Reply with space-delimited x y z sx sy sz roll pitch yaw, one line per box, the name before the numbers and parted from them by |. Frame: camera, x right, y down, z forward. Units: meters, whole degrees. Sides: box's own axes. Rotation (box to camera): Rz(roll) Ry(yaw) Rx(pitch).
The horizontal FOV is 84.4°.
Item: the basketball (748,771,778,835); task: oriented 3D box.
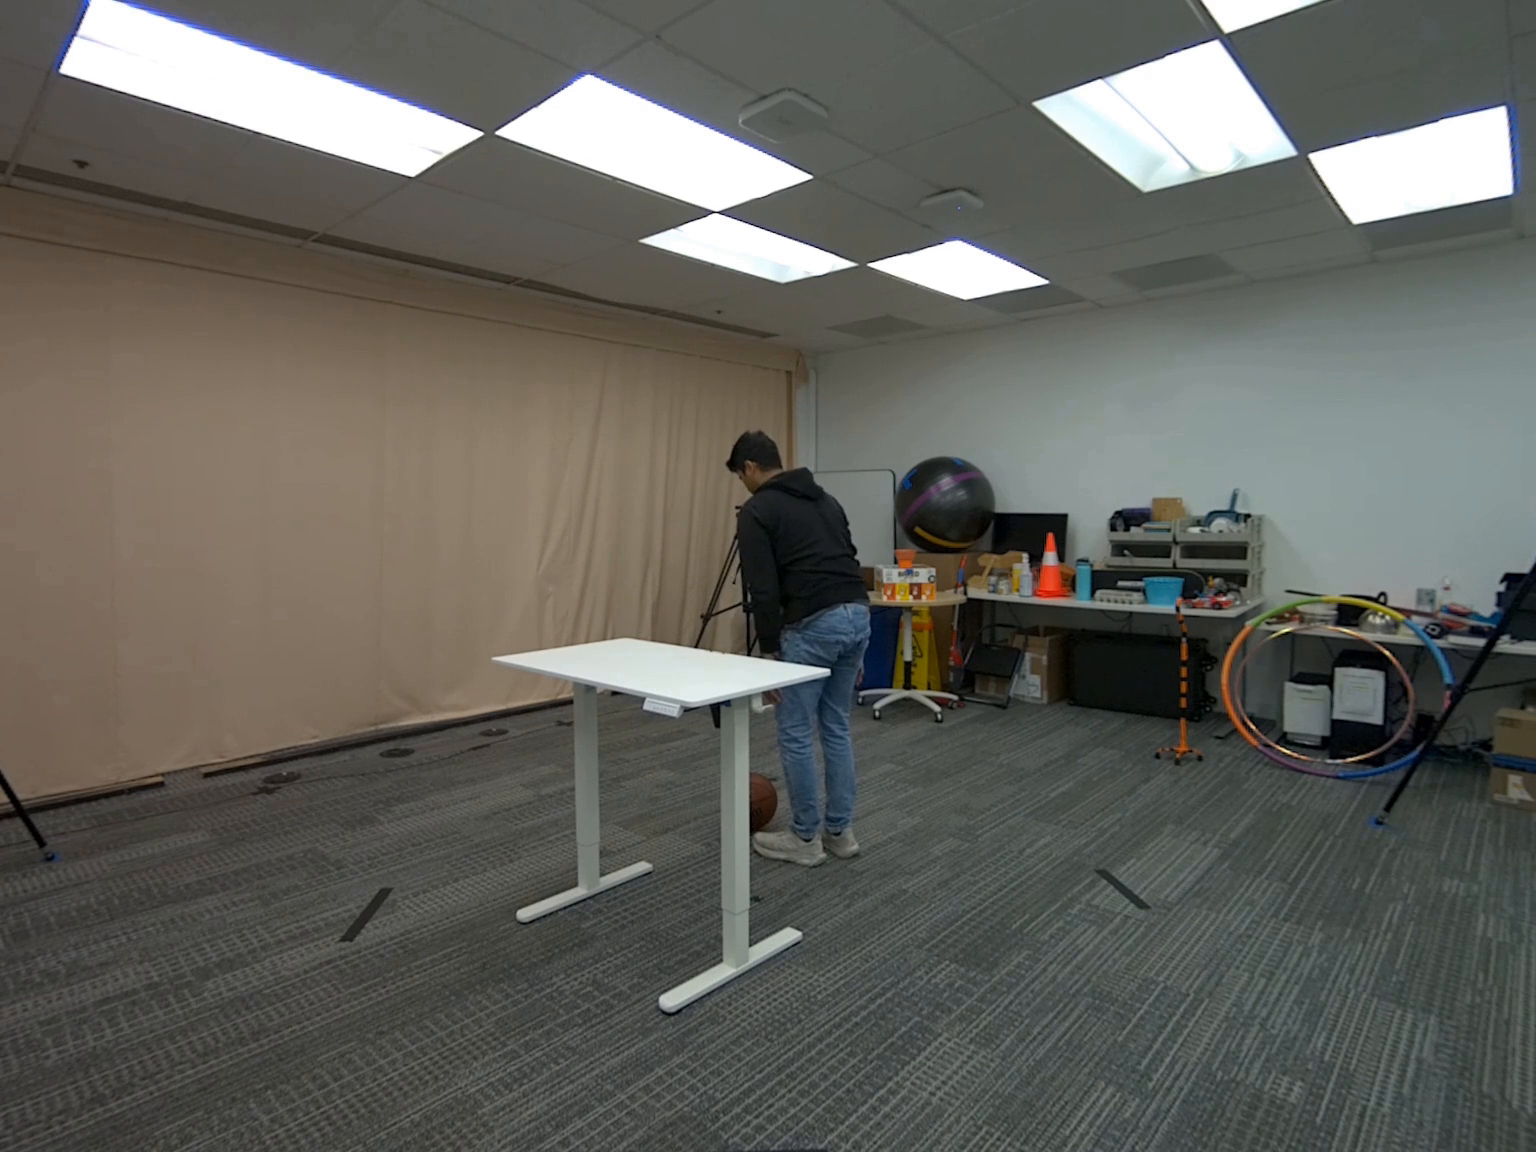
basketball | -0.075 0.970 3.647 0.236 0.235 0.237 0 4 -2
